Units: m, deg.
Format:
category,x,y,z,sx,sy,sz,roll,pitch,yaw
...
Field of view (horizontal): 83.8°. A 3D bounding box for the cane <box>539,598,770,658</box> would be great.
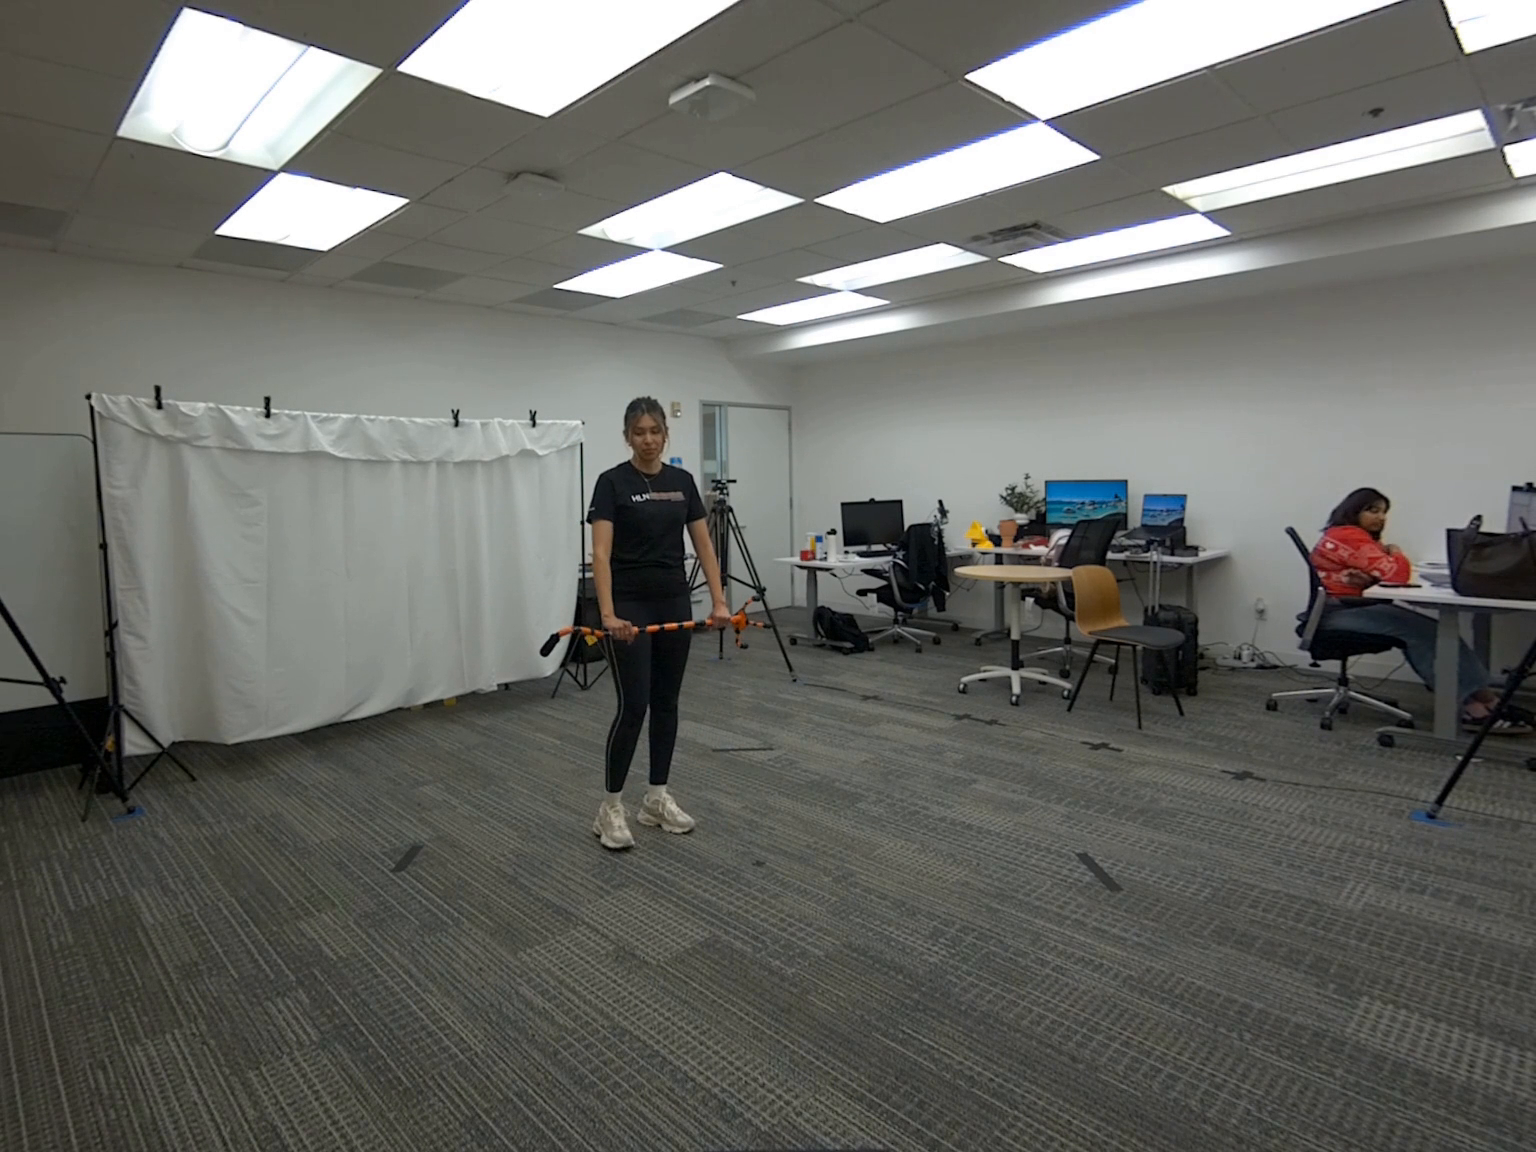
category,x,y,z,sx,sy,sz,roll,pitch,yaw
cane,-0.400,0.209,3.198,0.884,0.156,0.206,-4,-33,-37
